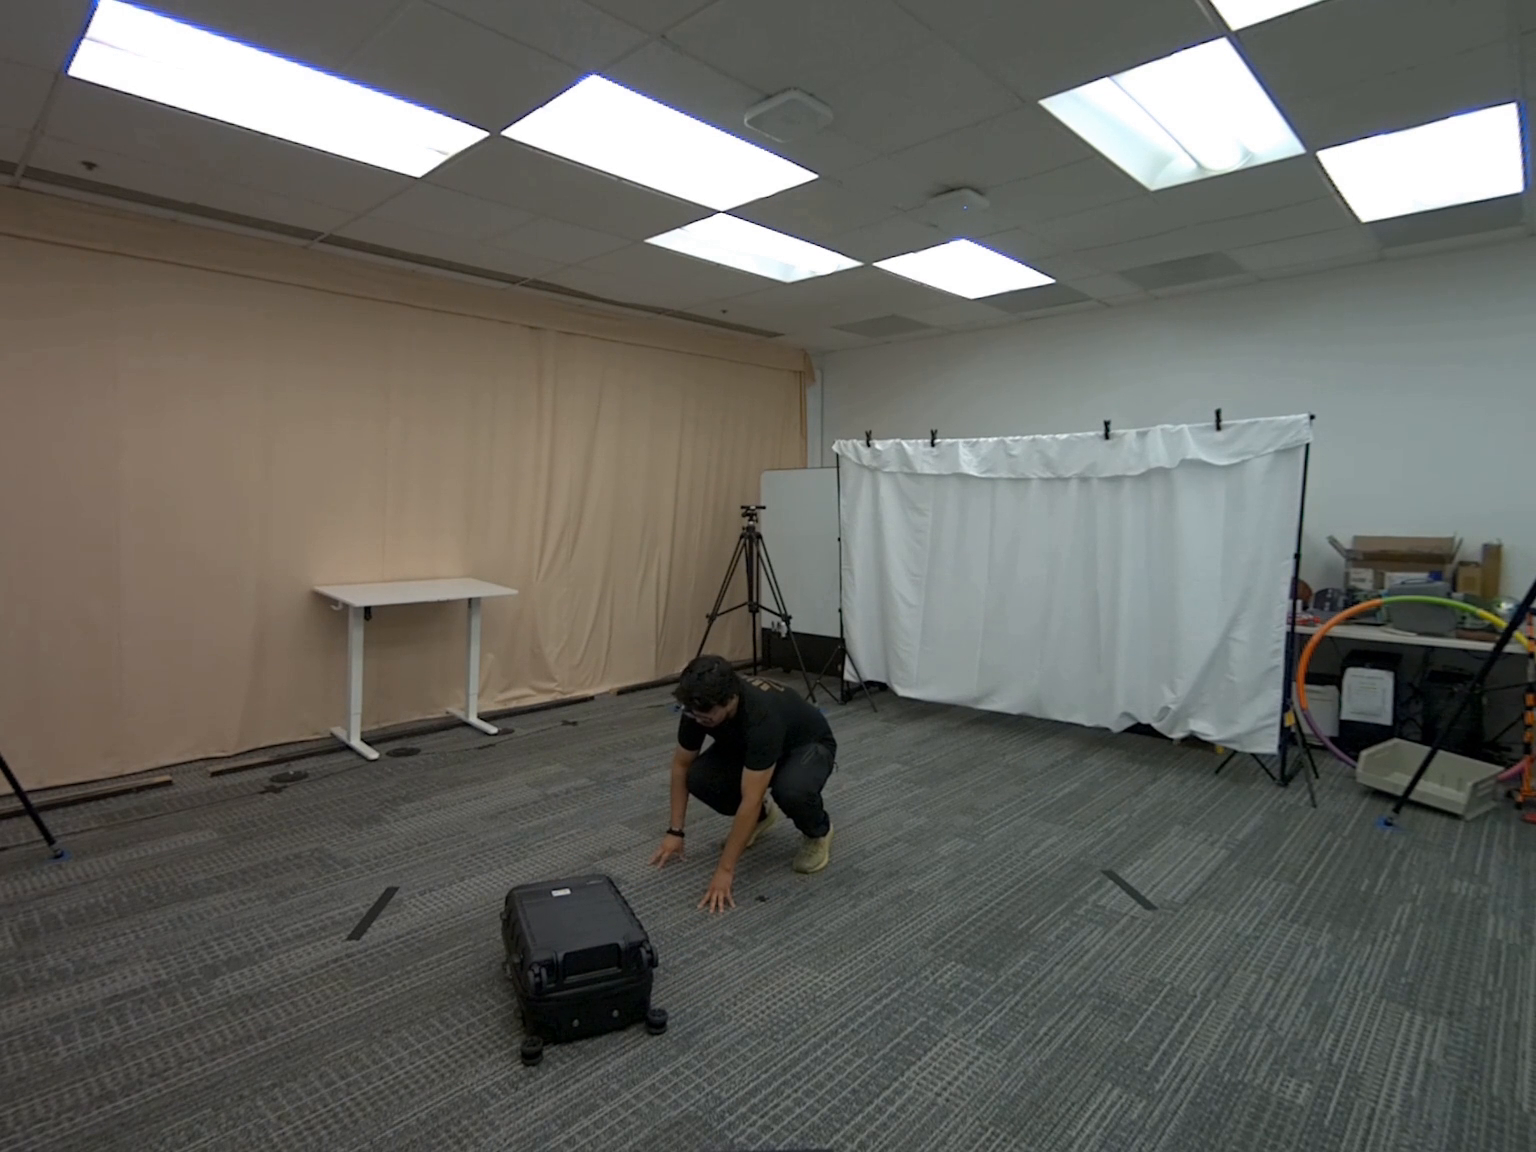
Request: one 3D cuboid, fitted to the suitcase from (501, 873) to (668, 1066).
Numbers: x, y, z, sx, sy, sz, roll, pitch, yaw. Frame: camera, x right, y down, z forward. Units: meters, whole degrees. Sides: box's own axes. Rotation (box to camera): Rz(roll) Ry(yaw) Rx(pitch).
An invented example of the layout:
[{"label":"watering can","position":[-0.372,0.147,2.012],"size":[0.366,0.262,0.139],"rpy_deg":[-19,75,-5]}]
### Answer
[{"label":"suitcase","position":[-0.636,1.056,2.594],"size":[0.375,0.256,1.003],"rpy_deg":[-3,6,-24]}]
